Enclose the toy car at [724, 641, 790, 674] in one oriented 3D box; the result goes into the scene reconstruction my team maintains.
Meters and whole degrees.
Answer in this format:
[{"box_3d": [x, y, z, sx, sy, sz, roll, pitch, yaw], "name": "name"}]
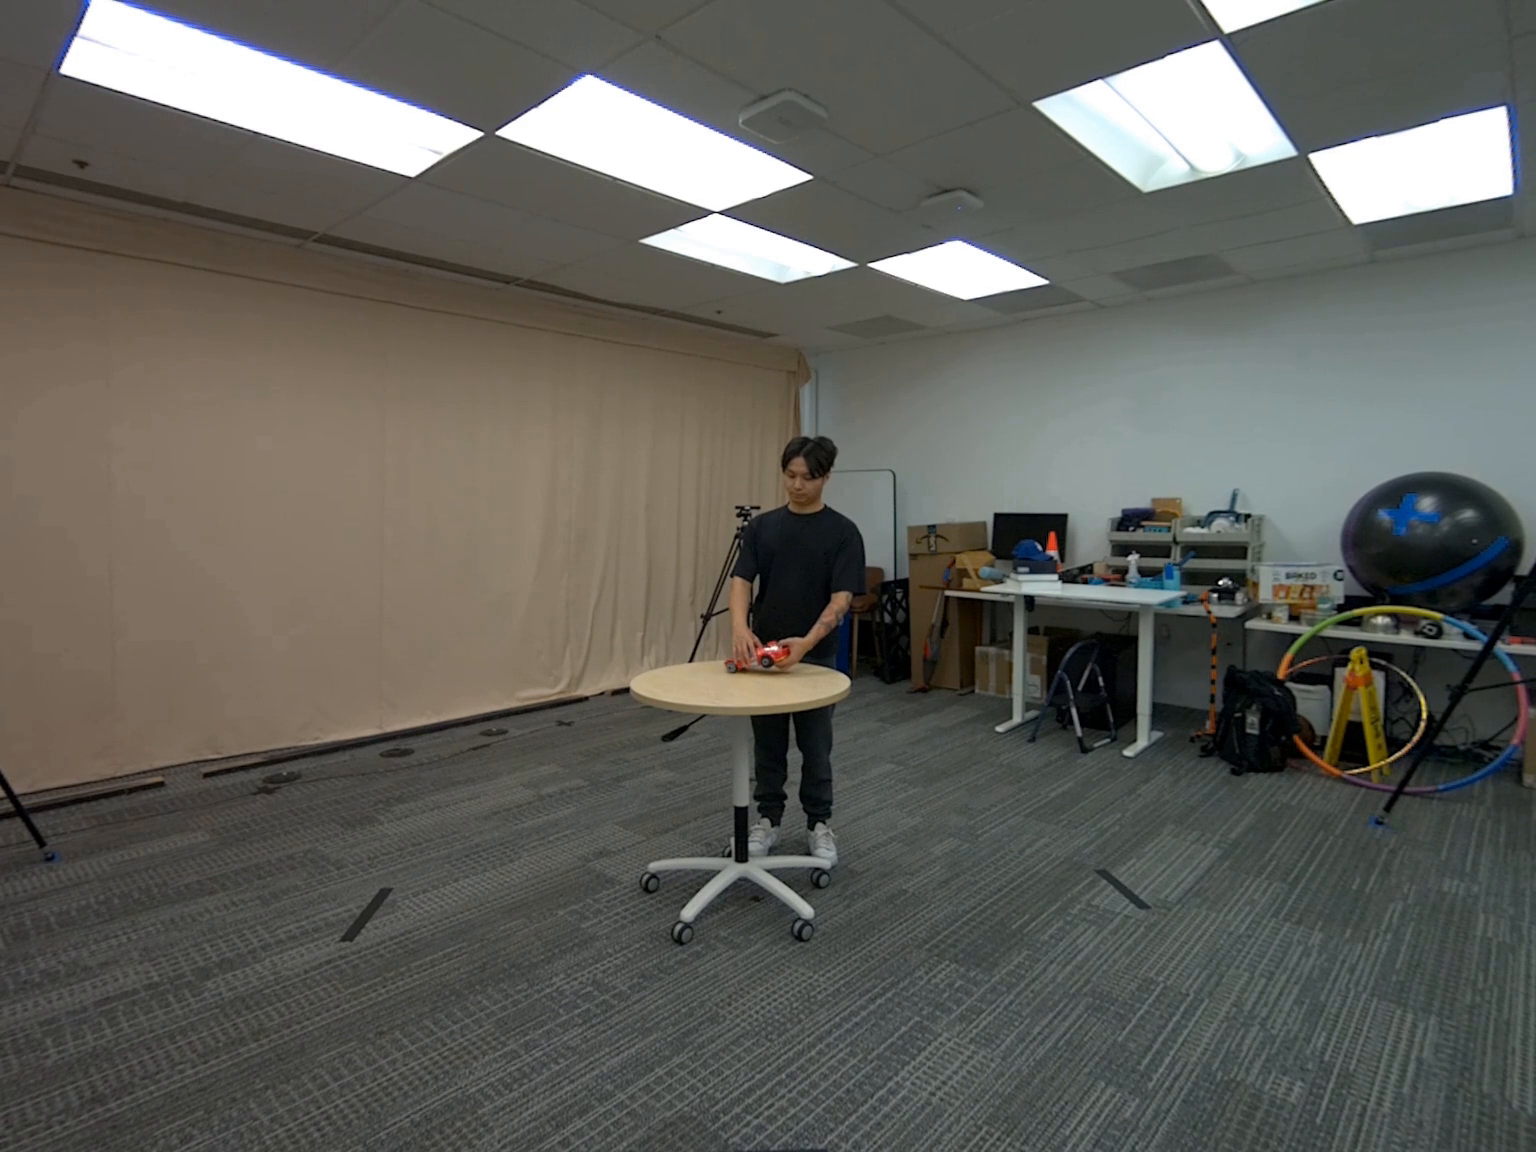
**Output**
[{"box_3d": [-0.024, 0.306, 3.059, 0.259, 0.084, 0.127, -22, -7, 28], "name": "toy car"}]
